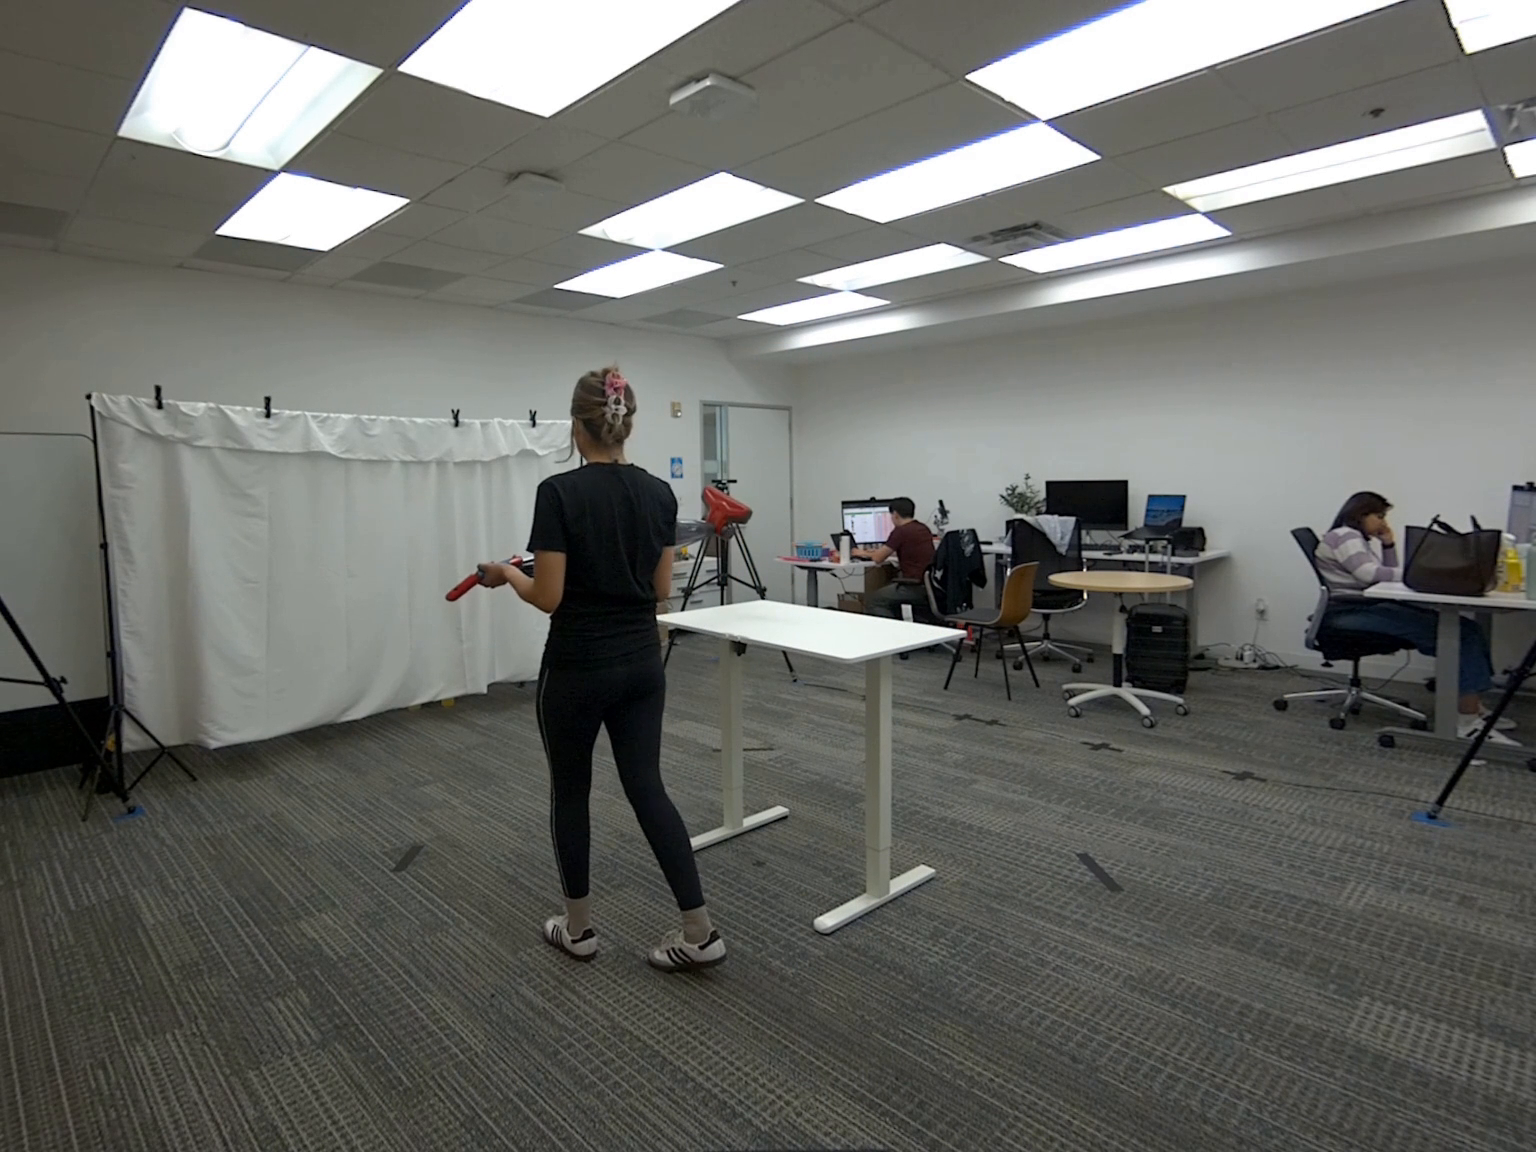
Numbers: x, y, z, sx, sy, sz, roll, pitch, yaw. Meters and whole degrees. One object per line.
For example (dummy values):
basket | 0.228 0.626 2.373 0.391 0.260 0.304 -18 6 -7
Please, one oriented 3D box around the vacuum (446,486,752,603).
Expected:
vacuum | -0.541 -0.080 2.791 1.030 0.141 0.262 -20 38 -36
